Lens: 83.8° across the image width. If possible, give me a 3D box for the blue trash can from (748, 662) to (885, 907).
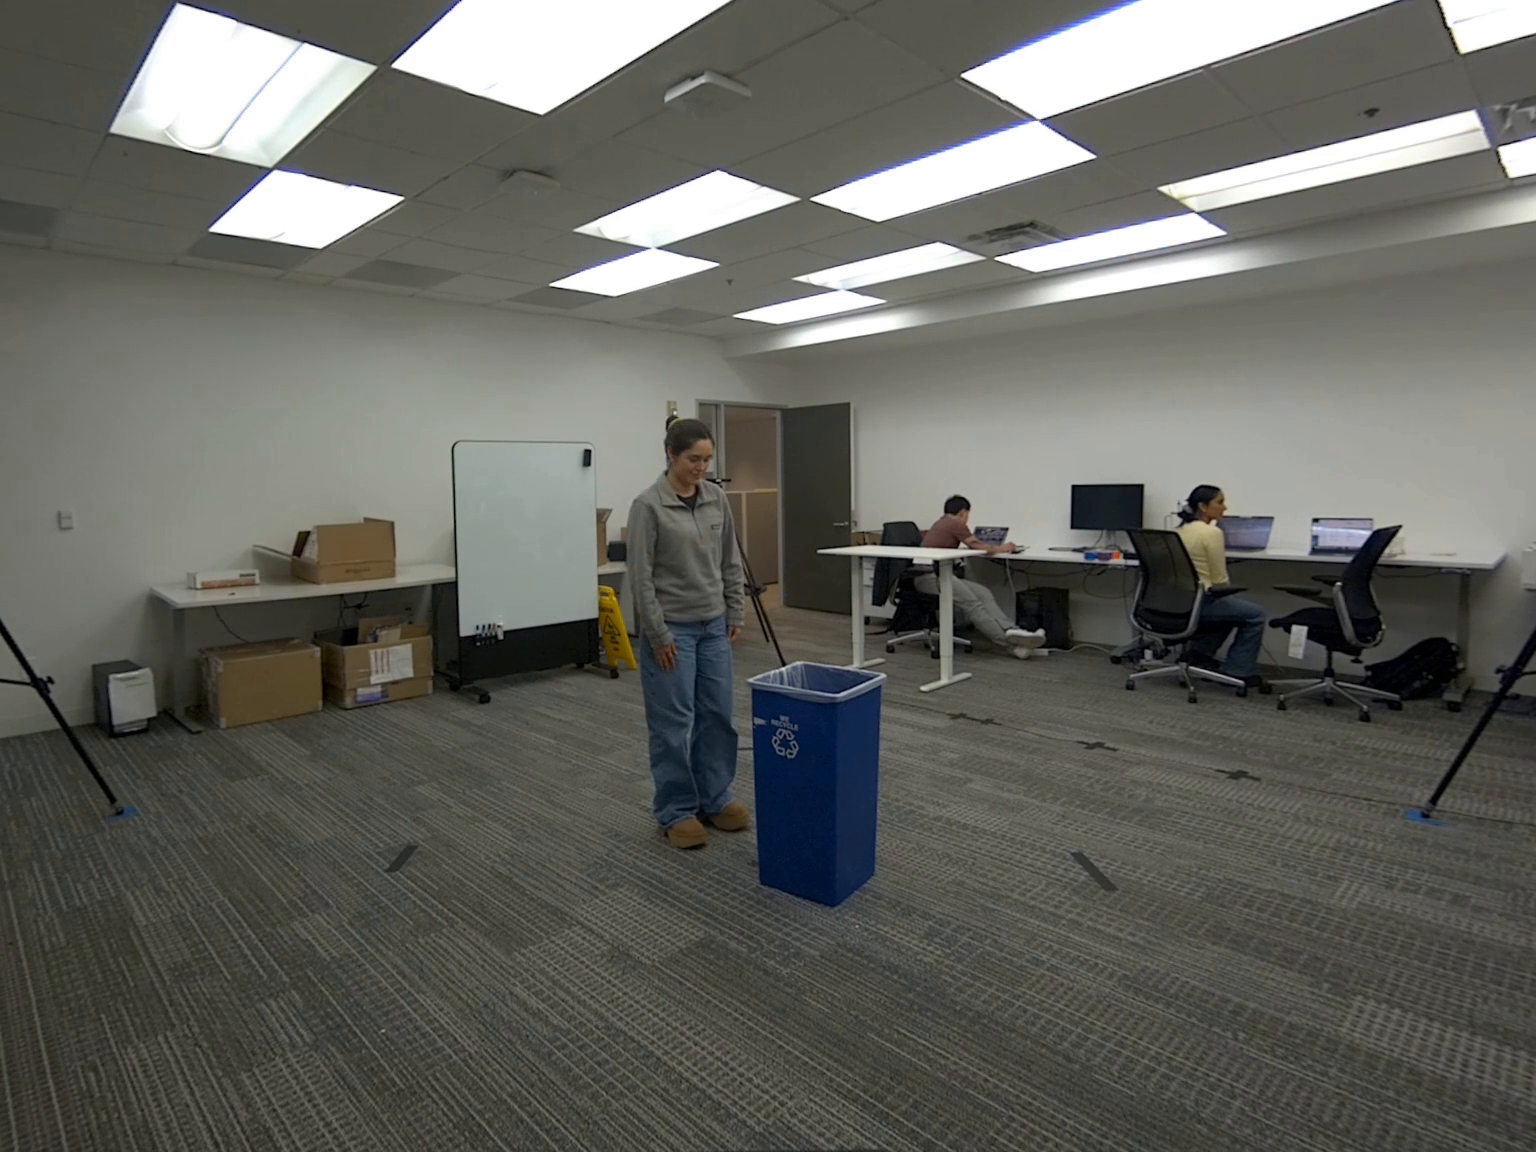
[{"bbox_3d":[0.181,0.700,2.951,0.385,0.711,0.369,1,5,35],"label":"blue trash can"}]
